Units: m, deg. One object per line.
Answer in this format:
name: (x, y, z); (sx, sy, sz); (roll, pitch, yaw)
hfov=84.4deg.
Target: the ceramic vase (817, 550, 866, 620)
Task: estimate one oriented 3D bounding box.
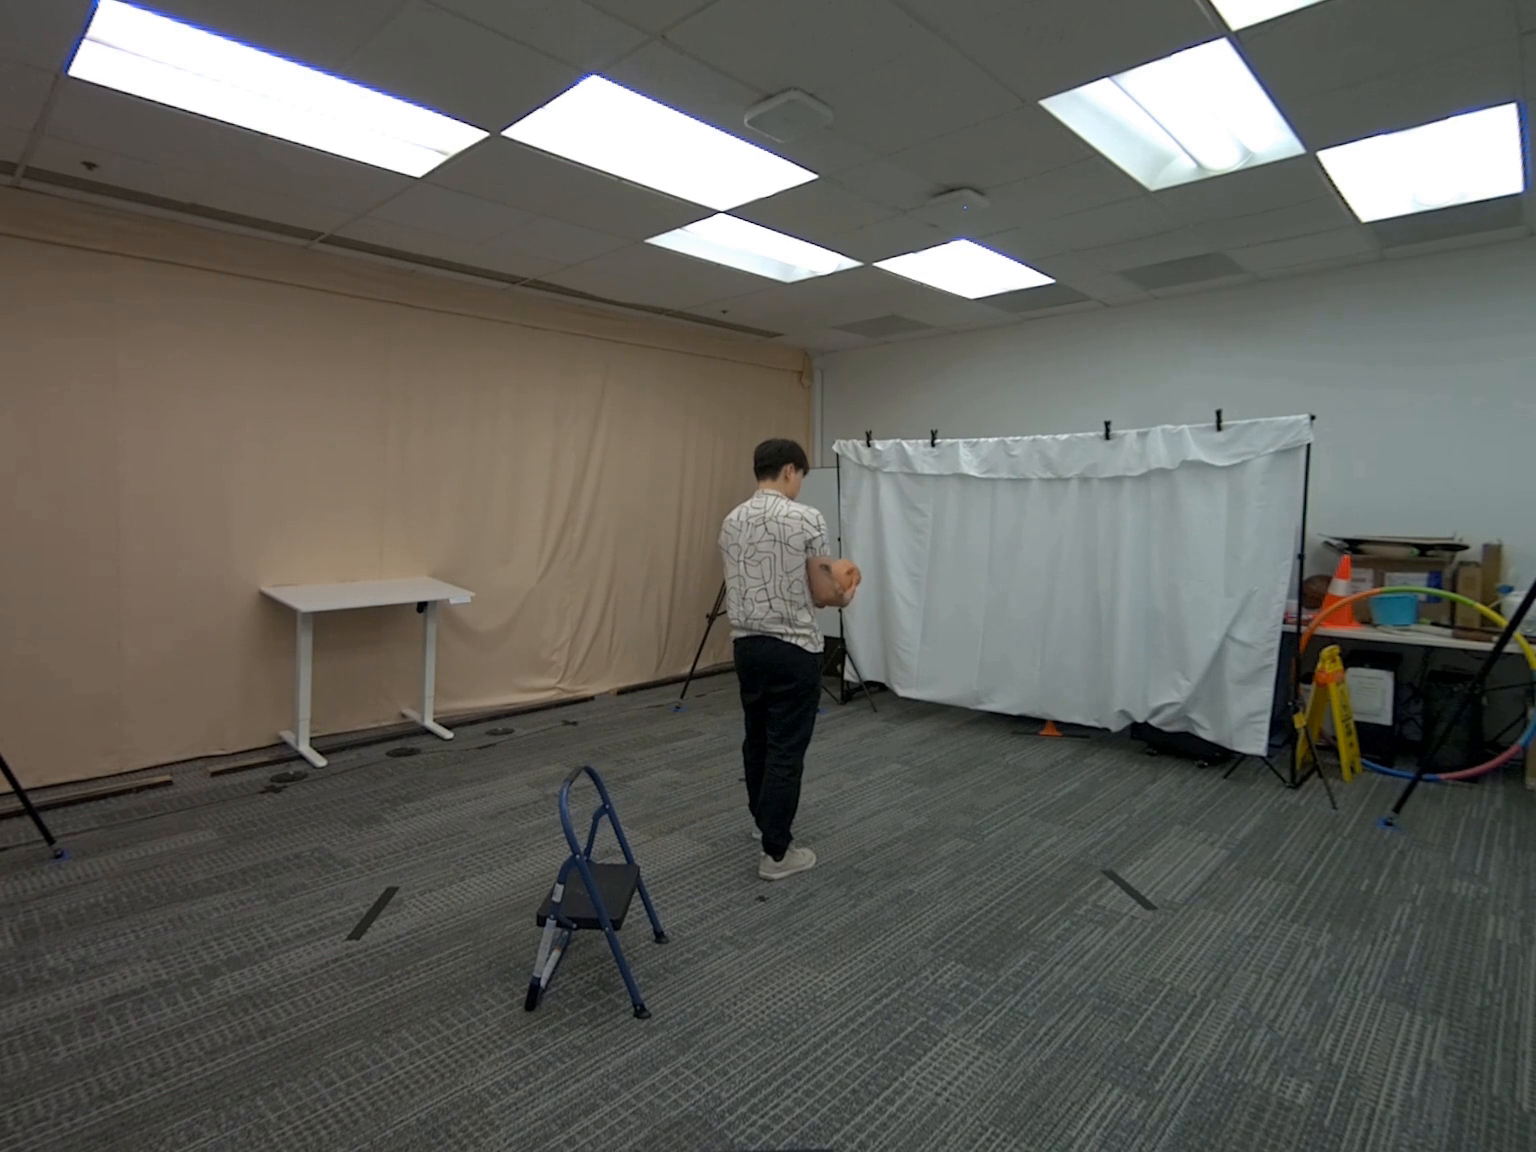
ceramic vase: (0.277, 0.032, 3.445); (0.139, 0.155, 0.216); (24, 45, 35)
